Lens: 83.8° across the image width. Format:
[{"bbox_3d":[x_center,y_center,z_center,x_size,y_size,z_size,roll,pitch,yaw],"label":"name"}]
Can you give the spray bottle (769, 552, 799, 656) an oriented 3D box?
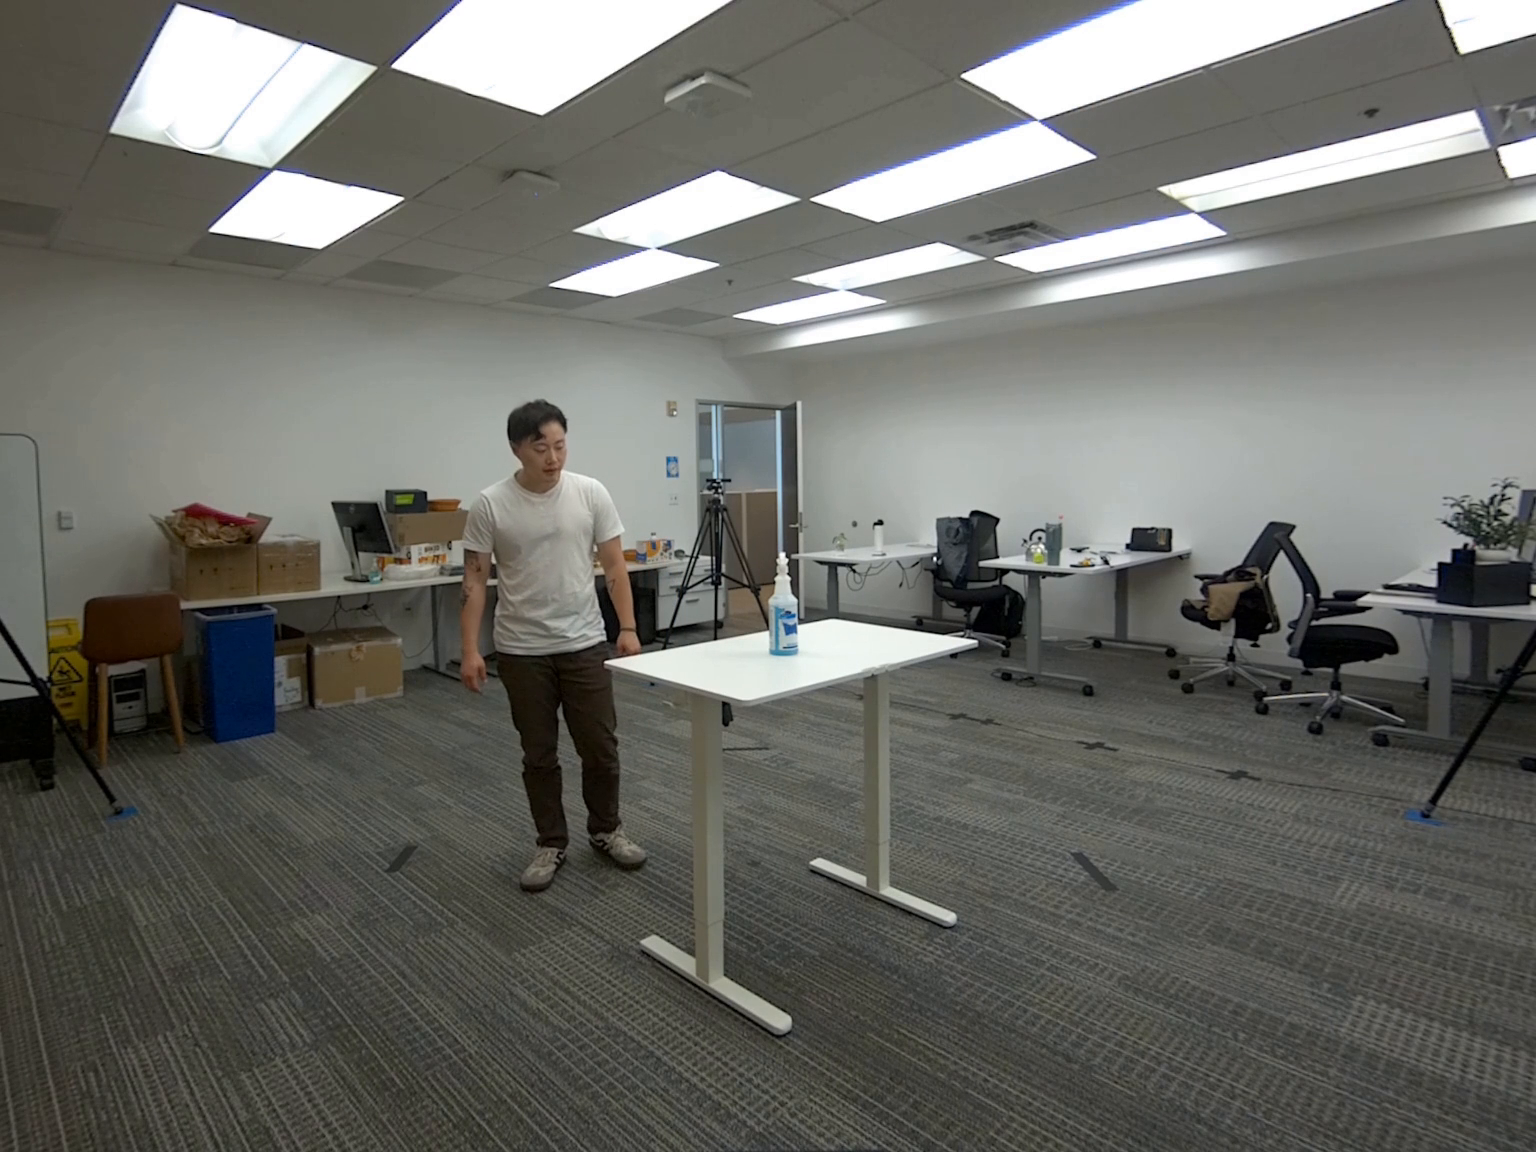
[{"bbox_3d":[0.047,0.085,2.523,0.089,0.297,0.088,-1,1,26],"label":"spray bottle"}]
